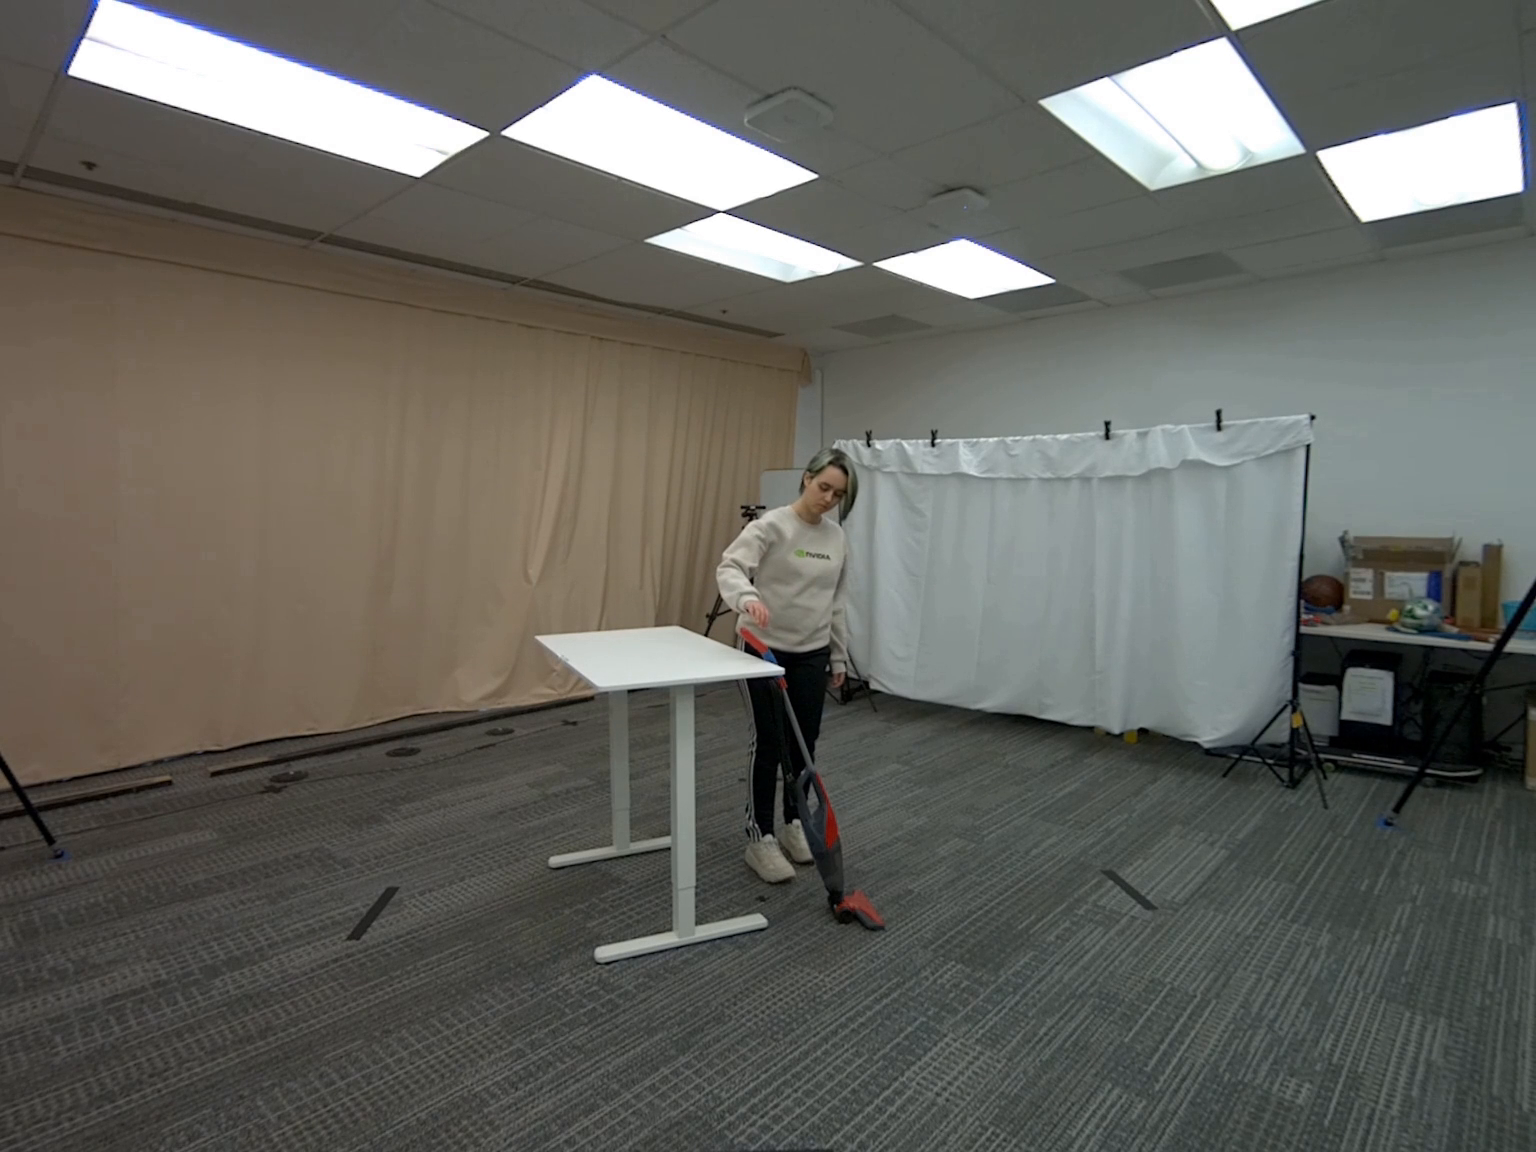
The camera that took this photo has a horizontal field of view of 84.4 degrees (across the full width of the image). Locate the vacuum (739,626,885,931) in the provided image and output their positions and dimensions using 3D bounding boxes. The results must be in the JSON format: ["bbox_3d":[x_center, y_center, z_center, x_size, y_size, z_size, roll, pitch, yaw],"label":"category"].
[{"bbox_3d":[0.111,0.667,2.821,0.142,1.043,0.257,-24,6,-16],"label":"vacuum"}]
